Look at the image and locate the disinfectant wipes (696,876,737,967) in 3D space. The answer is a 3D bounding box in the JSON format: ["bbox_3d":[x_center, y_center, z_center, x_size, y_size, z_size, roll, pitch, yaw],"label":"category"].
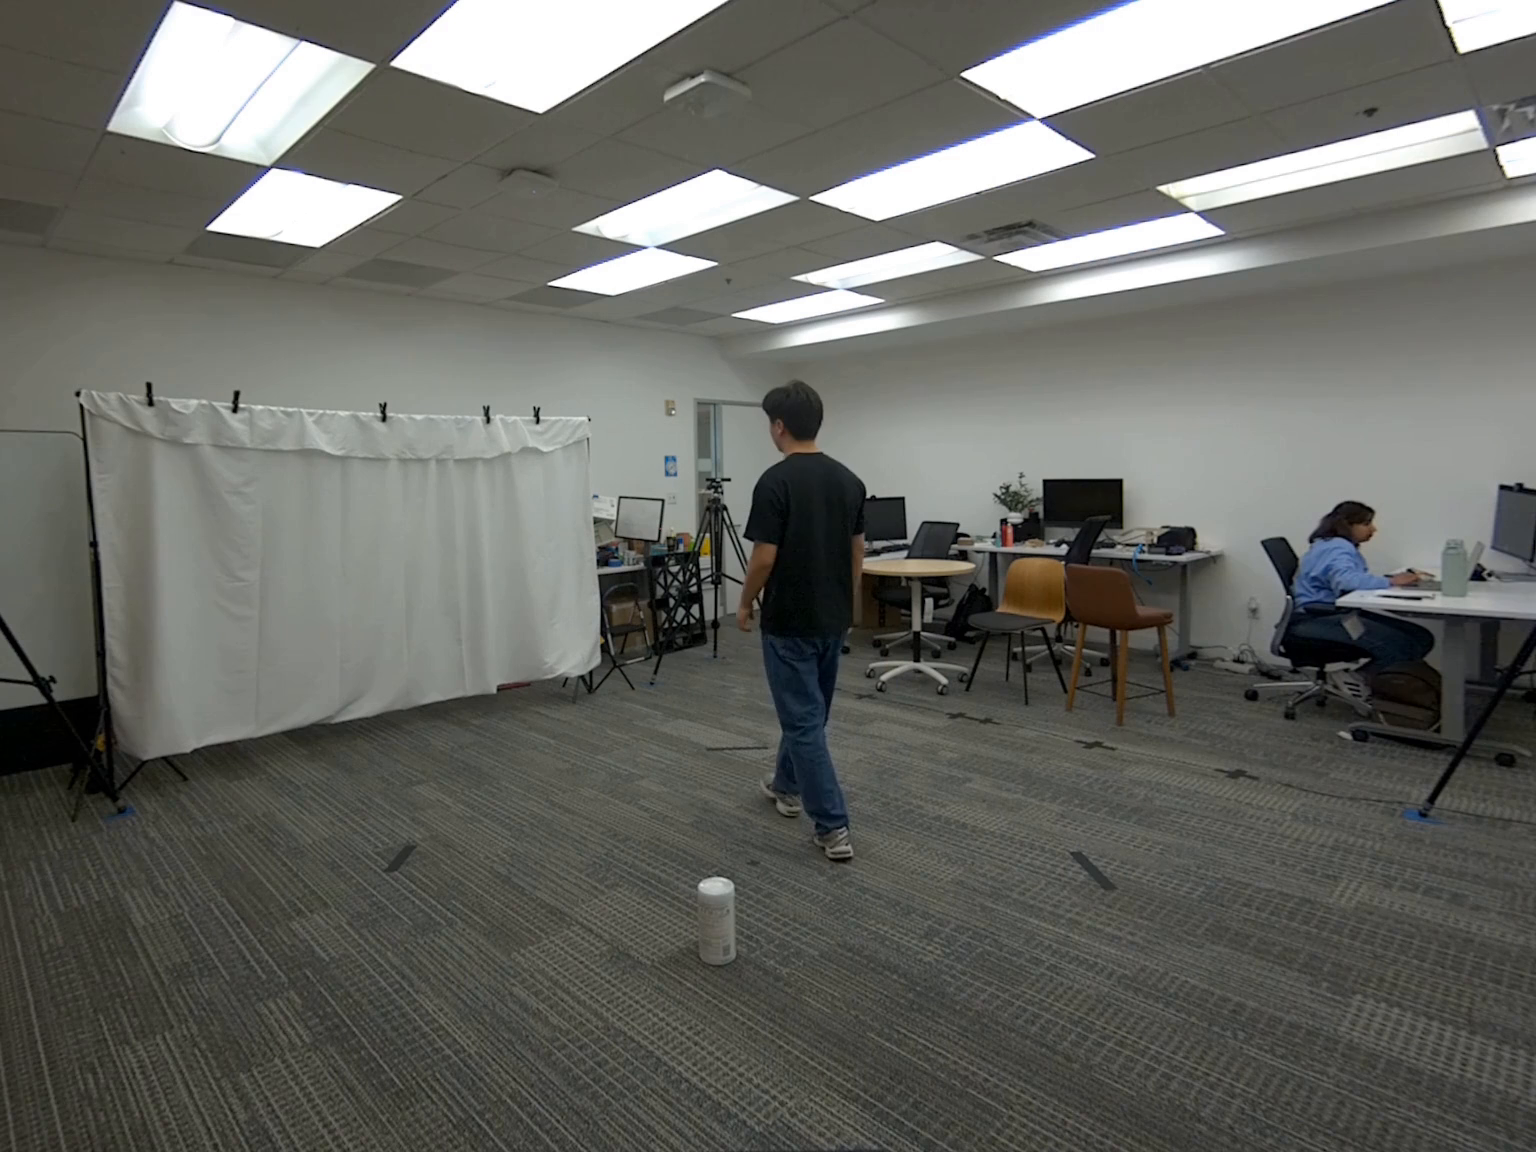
[{"bbox_3d":[-0.138,1.011,2.488,0.118,0.217,0.118,-2,3,-2],"label":"disinfectant wipes"}]
